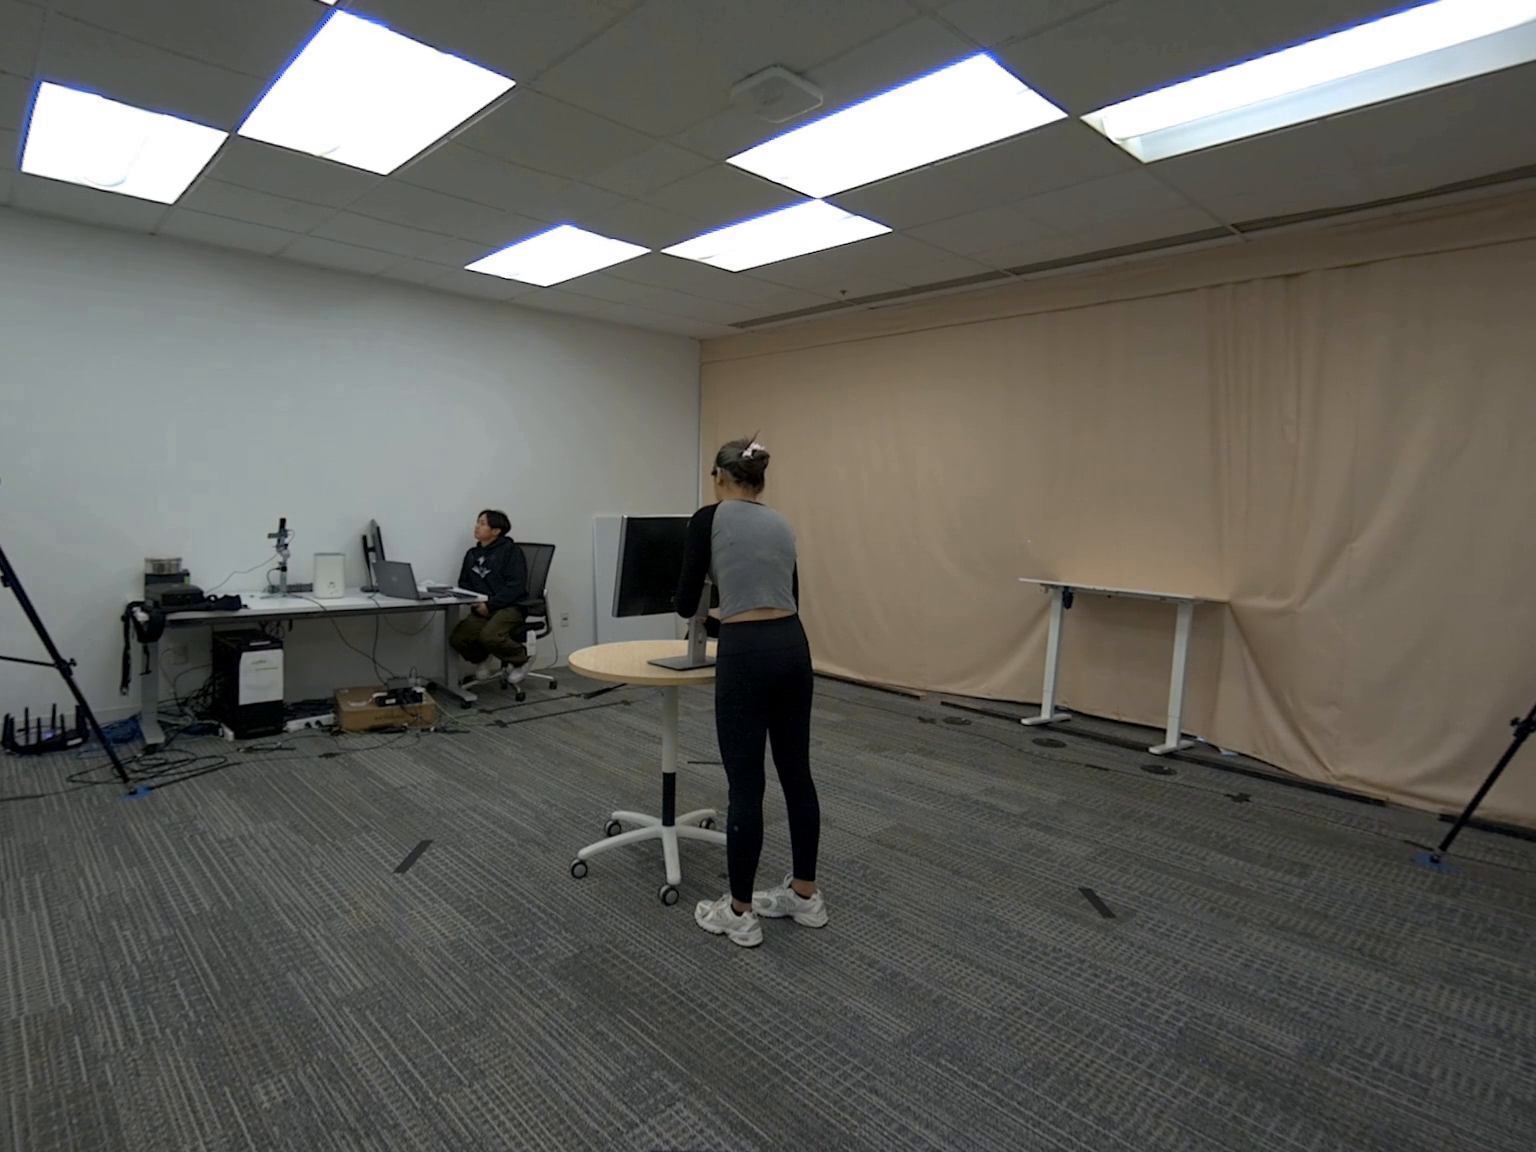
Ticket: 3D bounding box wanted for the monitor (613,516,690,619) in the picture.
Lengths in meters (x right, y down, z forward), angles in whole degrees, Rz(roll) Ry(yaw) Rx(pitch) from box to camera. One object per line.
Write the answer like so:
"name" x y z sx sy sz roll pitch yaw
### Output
"monitor" -0.287 0.056 3.042 0.527 0.522 0.192 -2 3 -45
